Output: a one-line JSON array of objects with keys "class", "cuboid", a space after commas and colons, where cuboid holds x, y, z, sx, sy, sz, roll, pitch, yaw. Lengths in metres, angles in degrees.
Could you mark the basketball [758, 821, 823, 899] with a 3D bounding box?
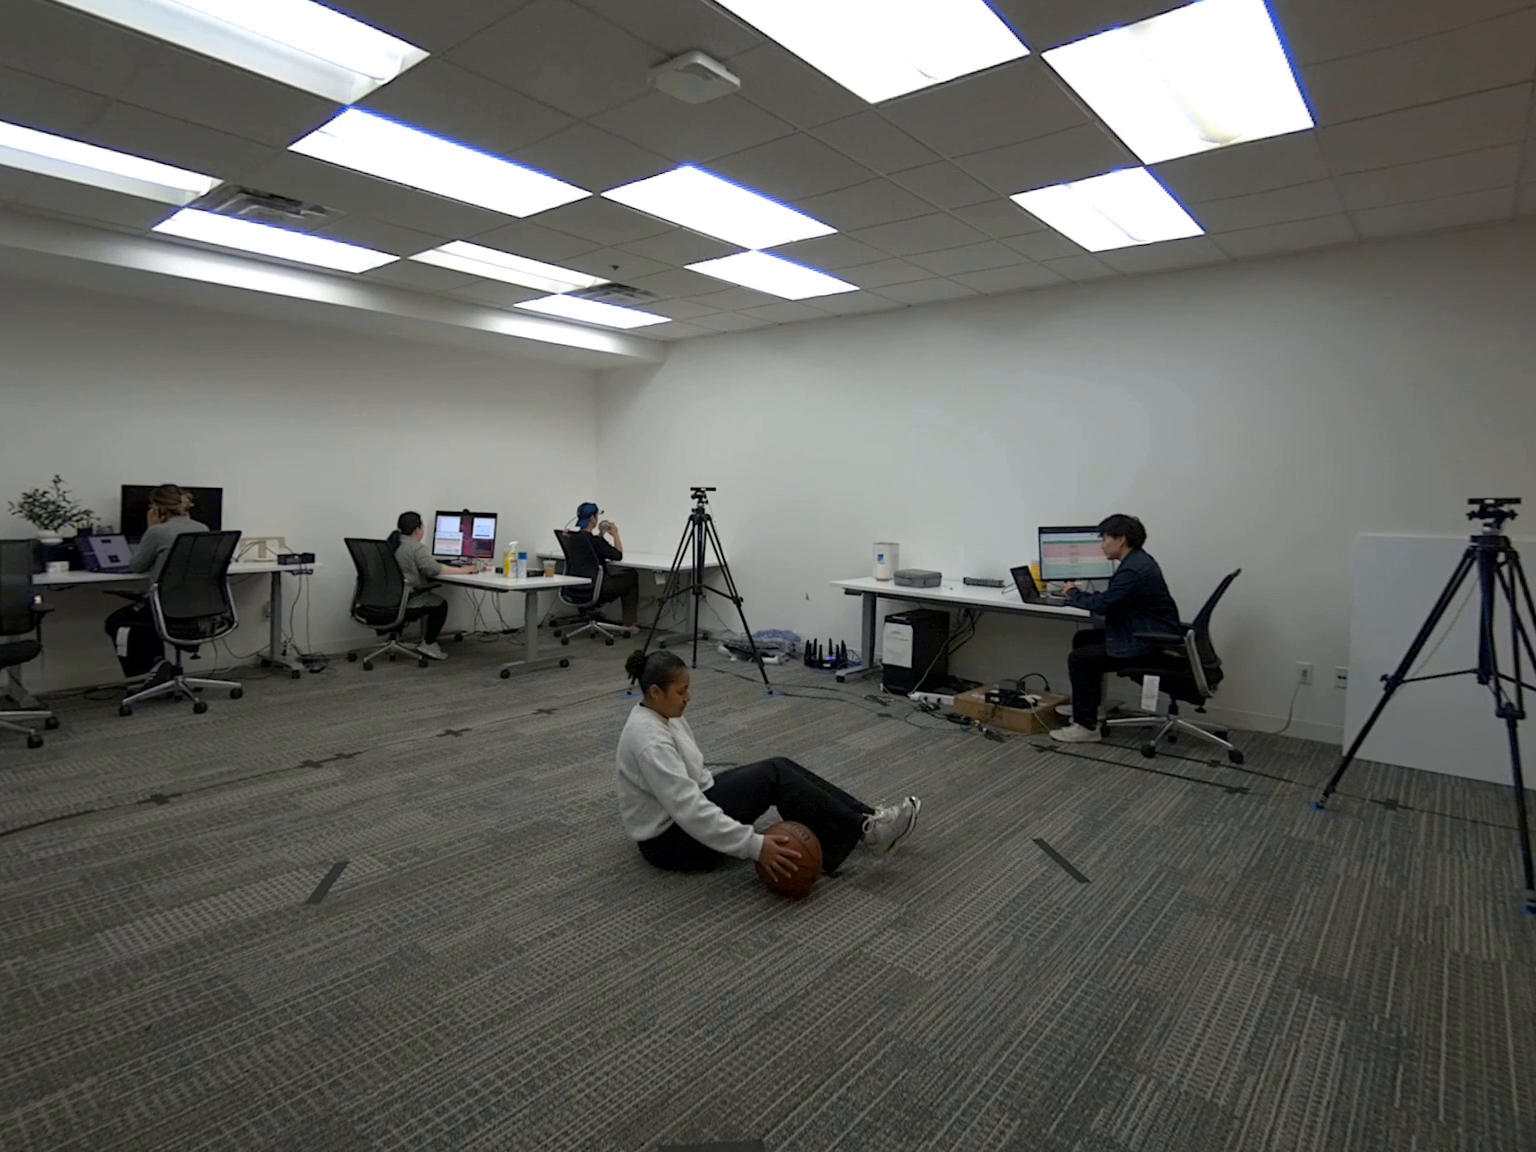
[{"class": "basketball", "cuboid": [0.064, 0.967, 2.942, 0.235, 0.235, 0.237, 1, 4, -2]}]
